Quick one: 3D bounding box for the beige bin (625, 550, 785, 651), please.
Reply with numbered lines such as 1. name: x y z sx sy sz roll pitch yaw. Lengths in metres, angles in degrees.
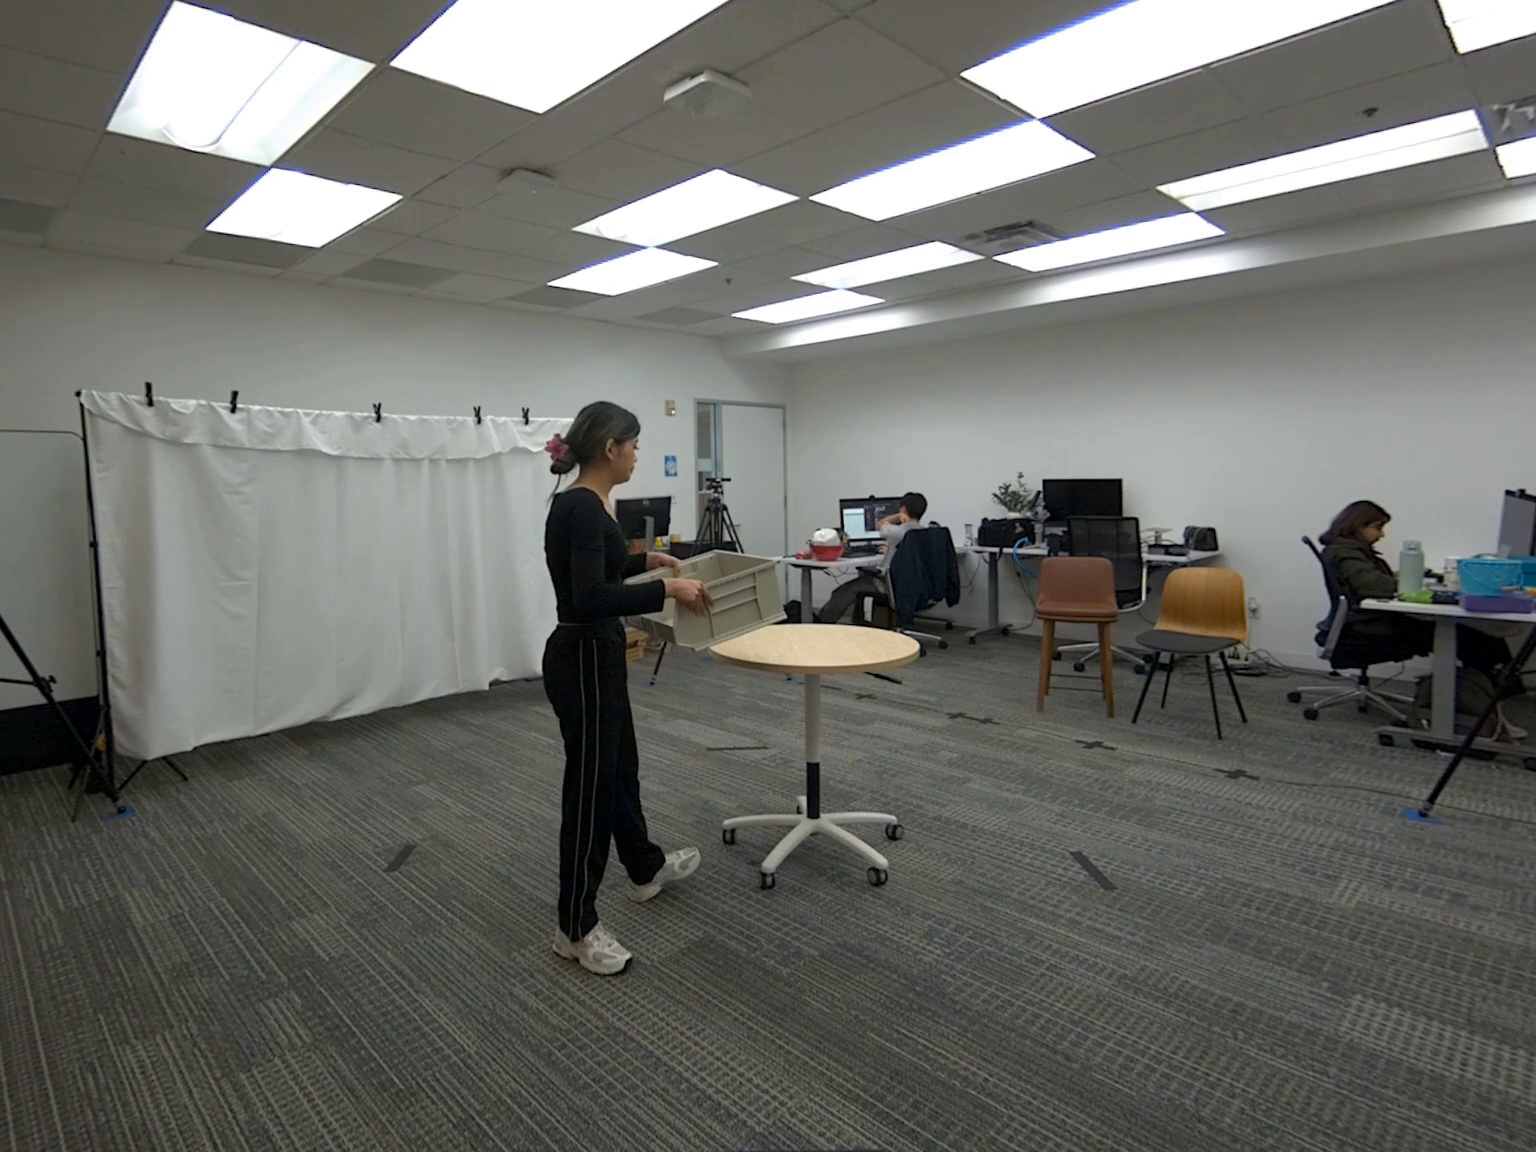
1. beige bin: -0.209 0.073 2.641 0.371 0.187 0.433 -17 12 -26
